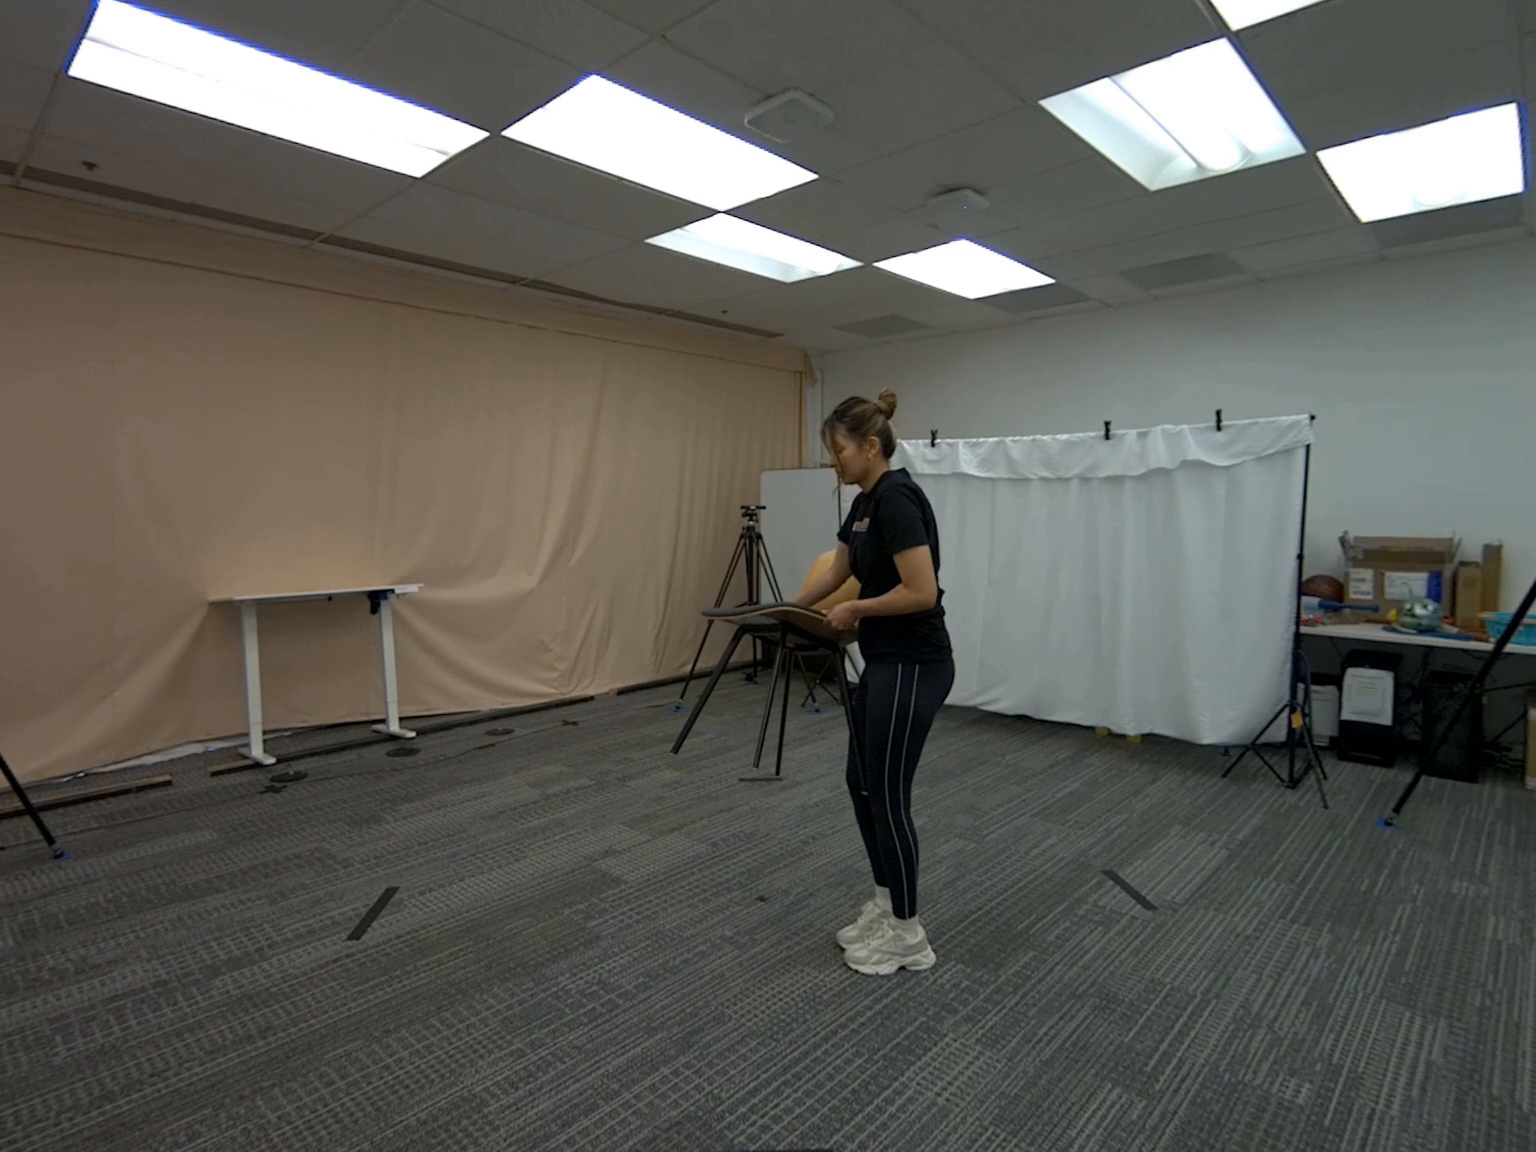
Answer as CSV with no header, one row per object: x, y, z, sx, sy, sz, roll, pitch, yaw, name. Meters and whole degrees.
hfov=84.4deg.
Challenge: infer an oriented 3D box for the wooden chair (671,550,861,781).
0.066,0.212,2.737,0.506,0.882,0.491,25,-19,-31,wooden chair
